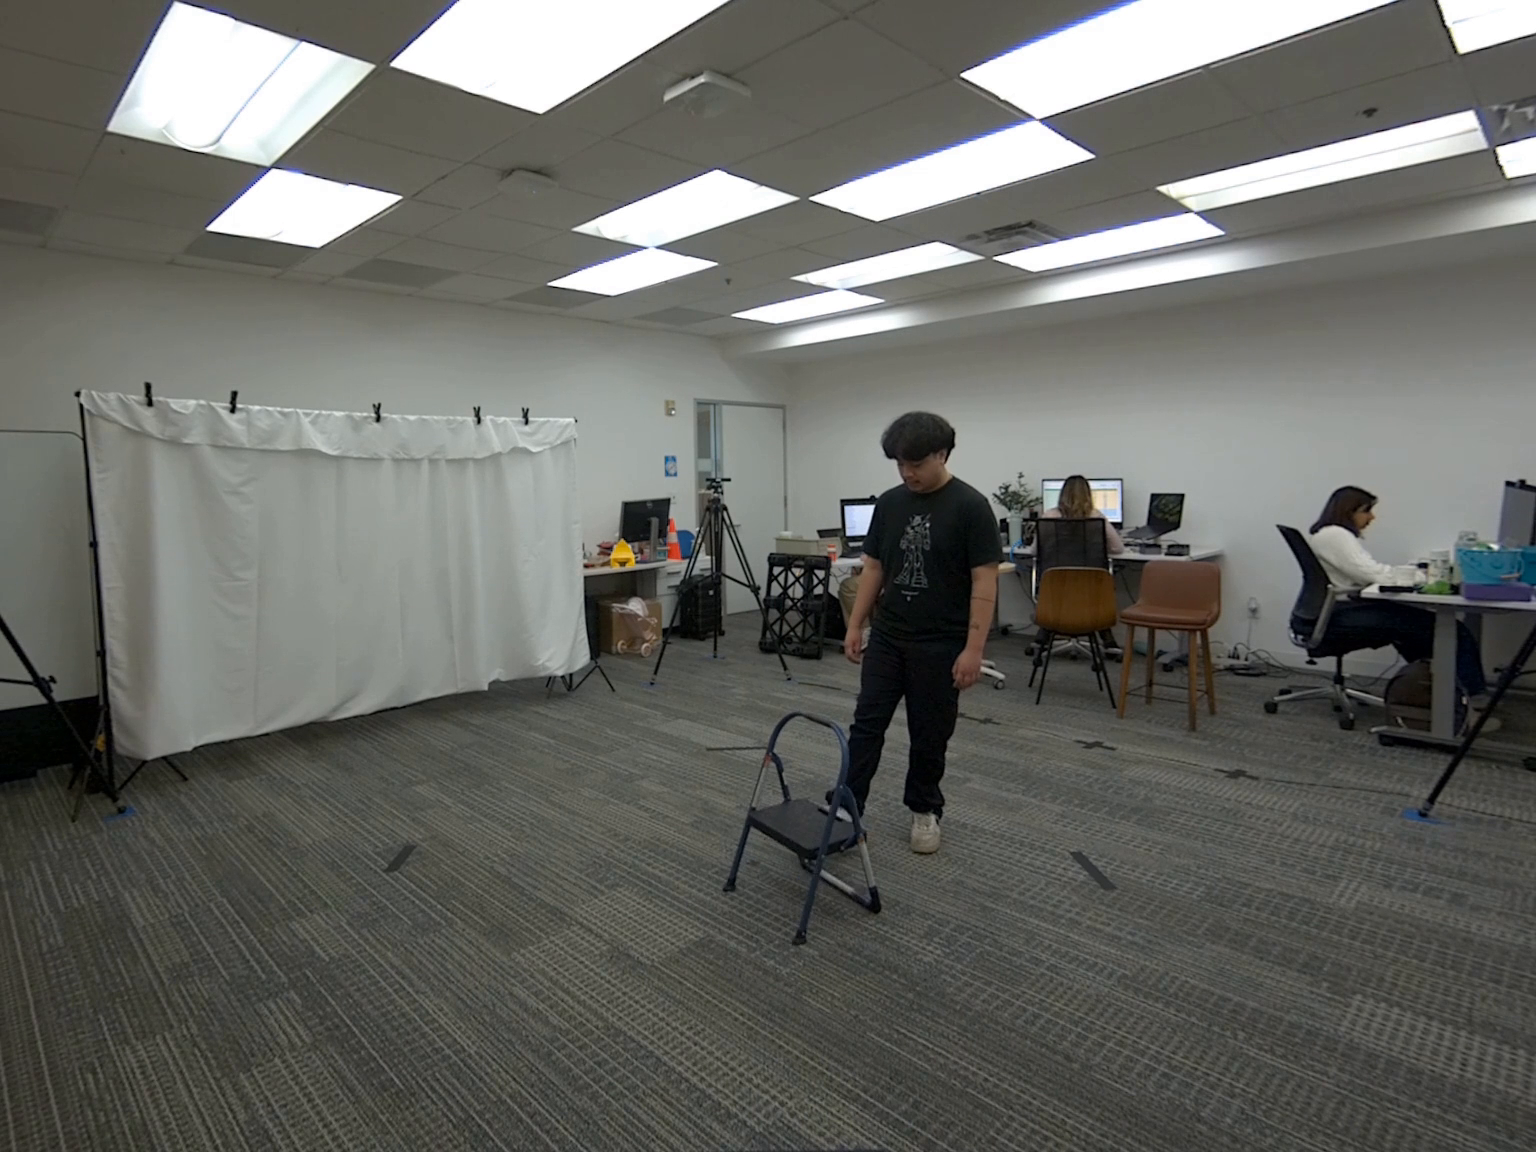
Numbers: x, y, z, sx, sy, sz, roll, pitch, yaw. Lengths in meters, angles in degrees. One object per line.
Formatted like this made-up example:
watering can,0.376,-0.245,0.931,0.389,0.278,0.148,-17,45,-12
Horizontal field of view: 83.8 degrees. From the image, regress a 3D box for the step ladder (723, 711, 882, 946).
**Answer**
step ladder,0.106,0.770,2.799,0.341,0.604,0.443,-4,5,-34
